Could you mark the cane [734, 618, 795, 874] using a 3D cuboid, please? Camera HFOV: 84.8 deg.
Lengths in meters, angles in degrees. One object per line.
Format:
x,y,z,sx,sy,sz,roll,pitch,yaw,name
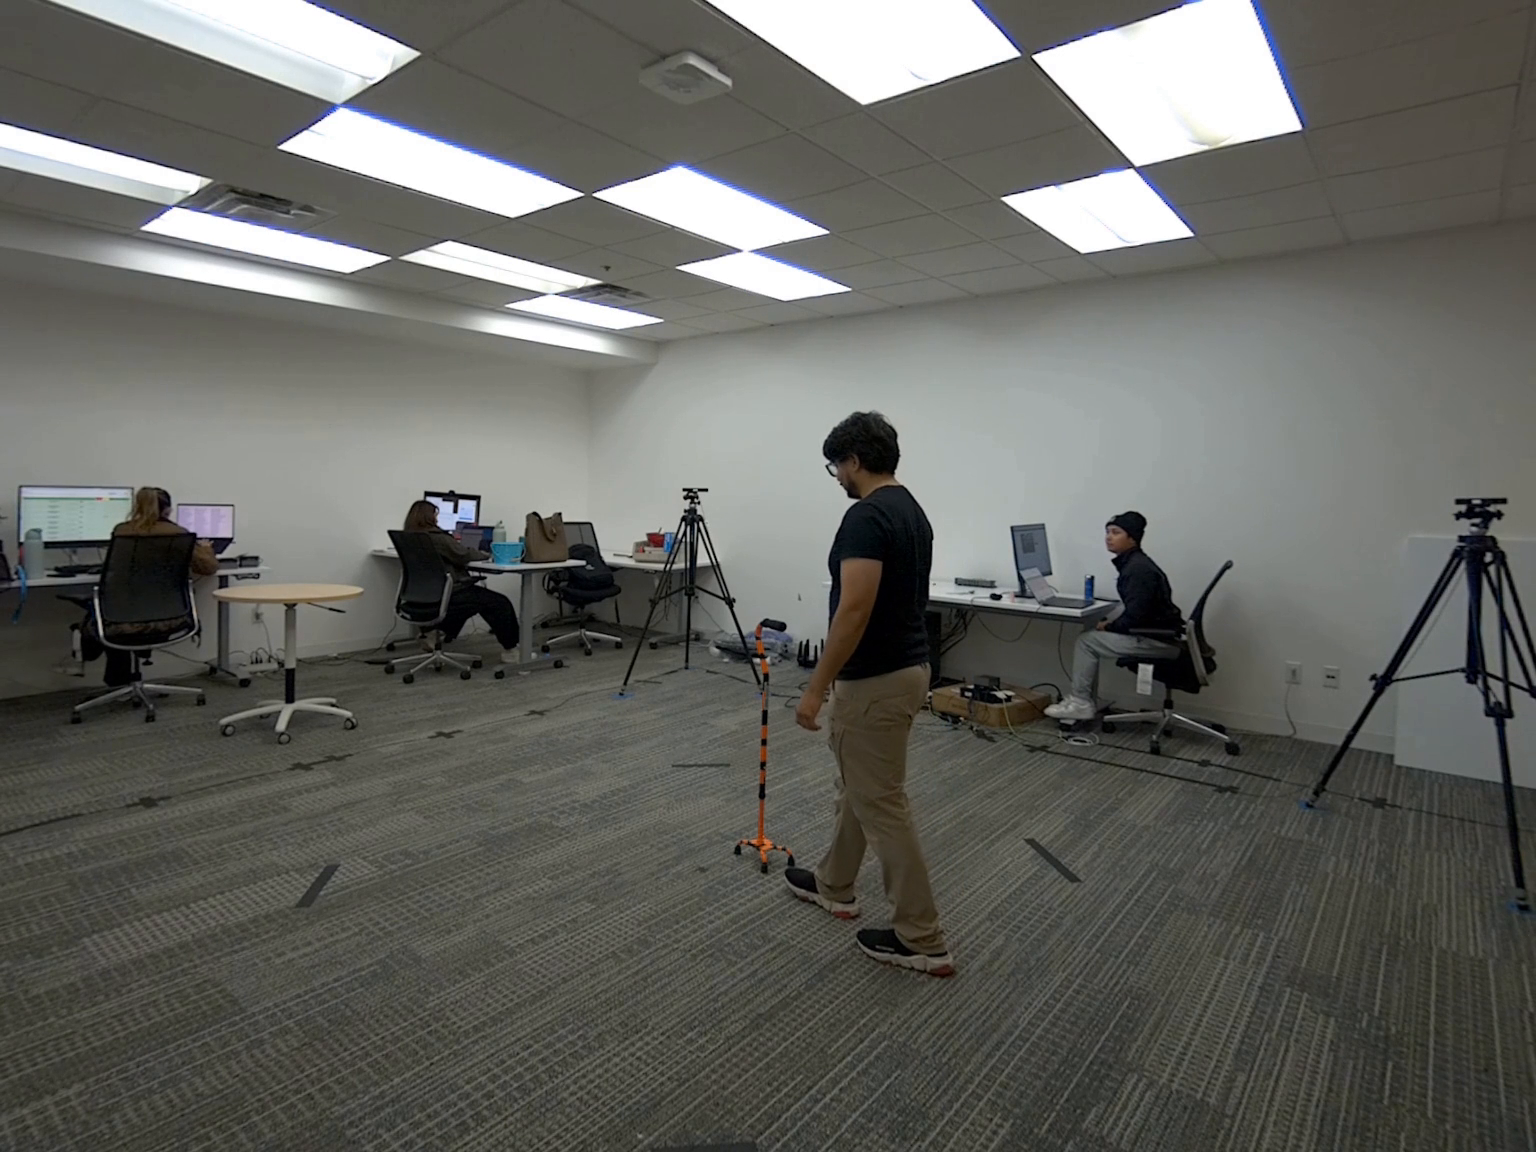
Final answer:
-0.008,0.614,3.182,0.147,0.905,0.213,0,4,-33,cane
